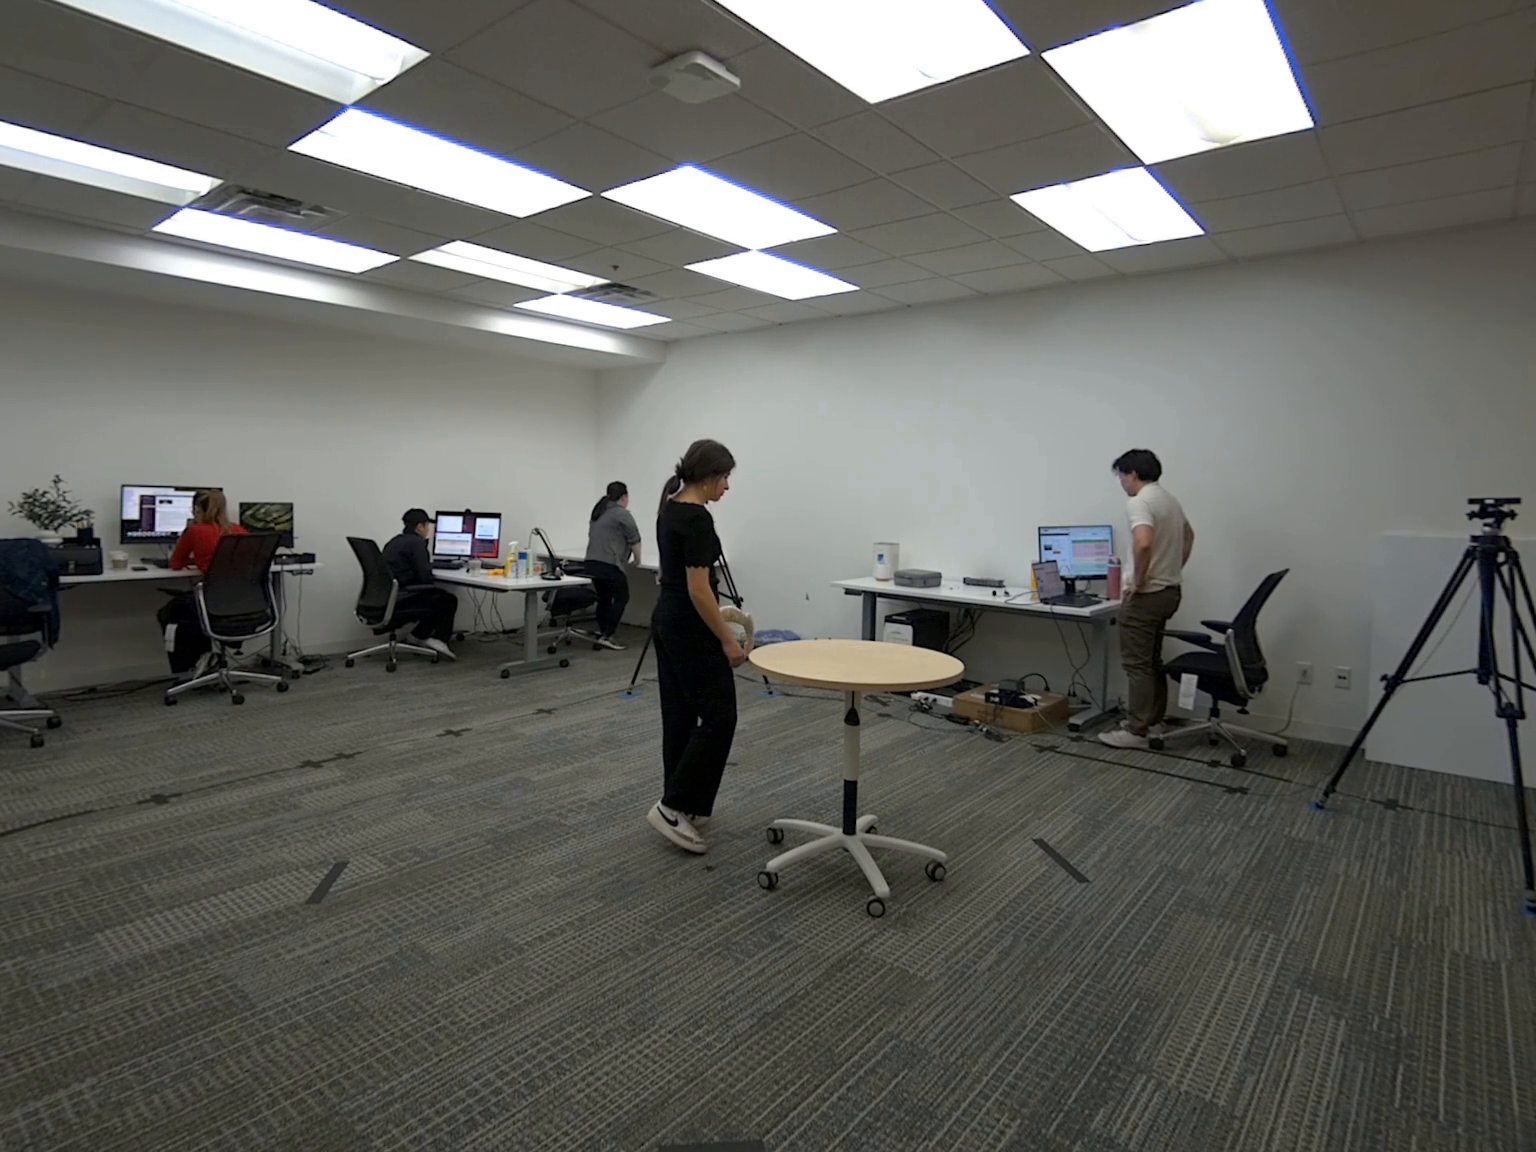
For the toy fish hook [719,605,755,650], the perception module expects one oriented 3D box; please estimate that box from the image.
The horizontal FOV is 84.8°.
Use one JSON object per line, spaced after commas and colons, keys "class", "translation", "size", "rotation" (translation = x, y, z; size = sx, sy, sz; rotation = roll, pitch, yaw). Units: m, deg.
{"class": "toy fish hook", "translation": [-0.227, 0.381, 3.705], "size": [0.227, 0.507, 0.048], "rotation": [24, -1, 8]}
